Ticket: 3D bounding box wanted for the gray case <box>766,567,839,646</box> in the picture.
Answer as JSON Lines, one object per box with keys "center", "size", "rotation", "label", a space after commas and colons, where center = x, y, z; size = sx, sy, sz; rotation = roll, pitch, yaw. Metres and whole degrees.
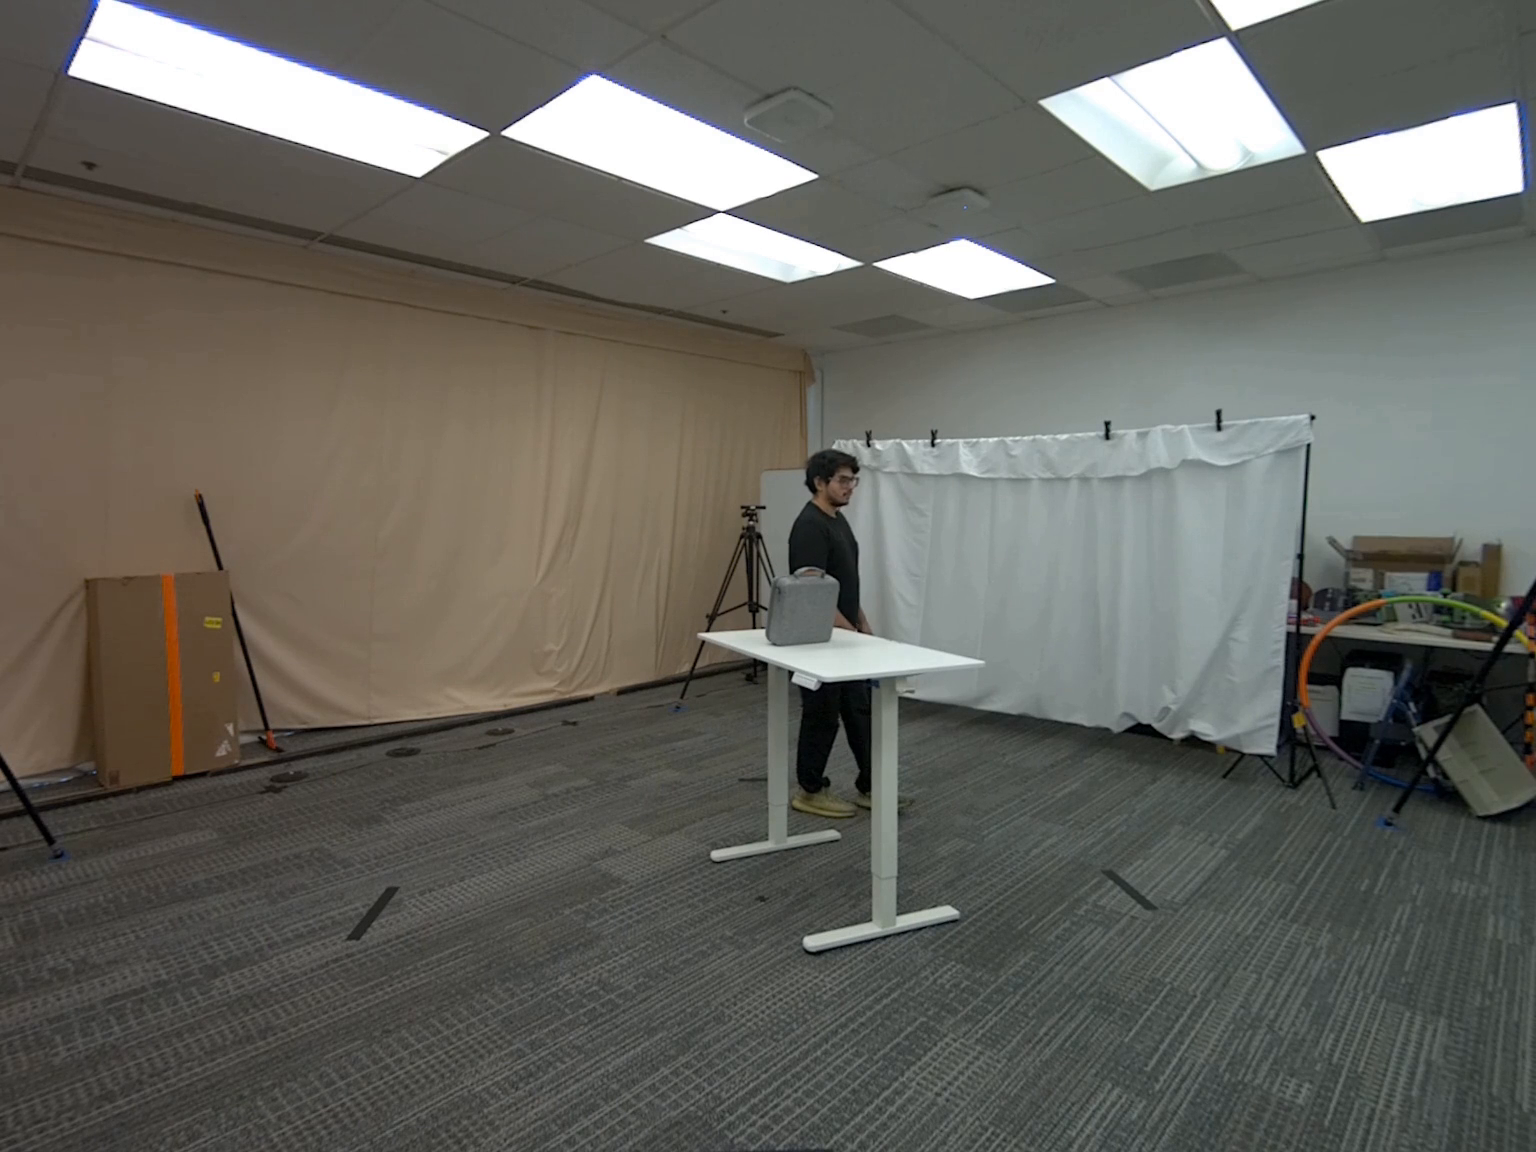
{"center": [0.130, 0.121, 3.099], "size": [0.250, 0.259, 0.108], "rotation": [-1, 18, -28], "label": "gray case"}
